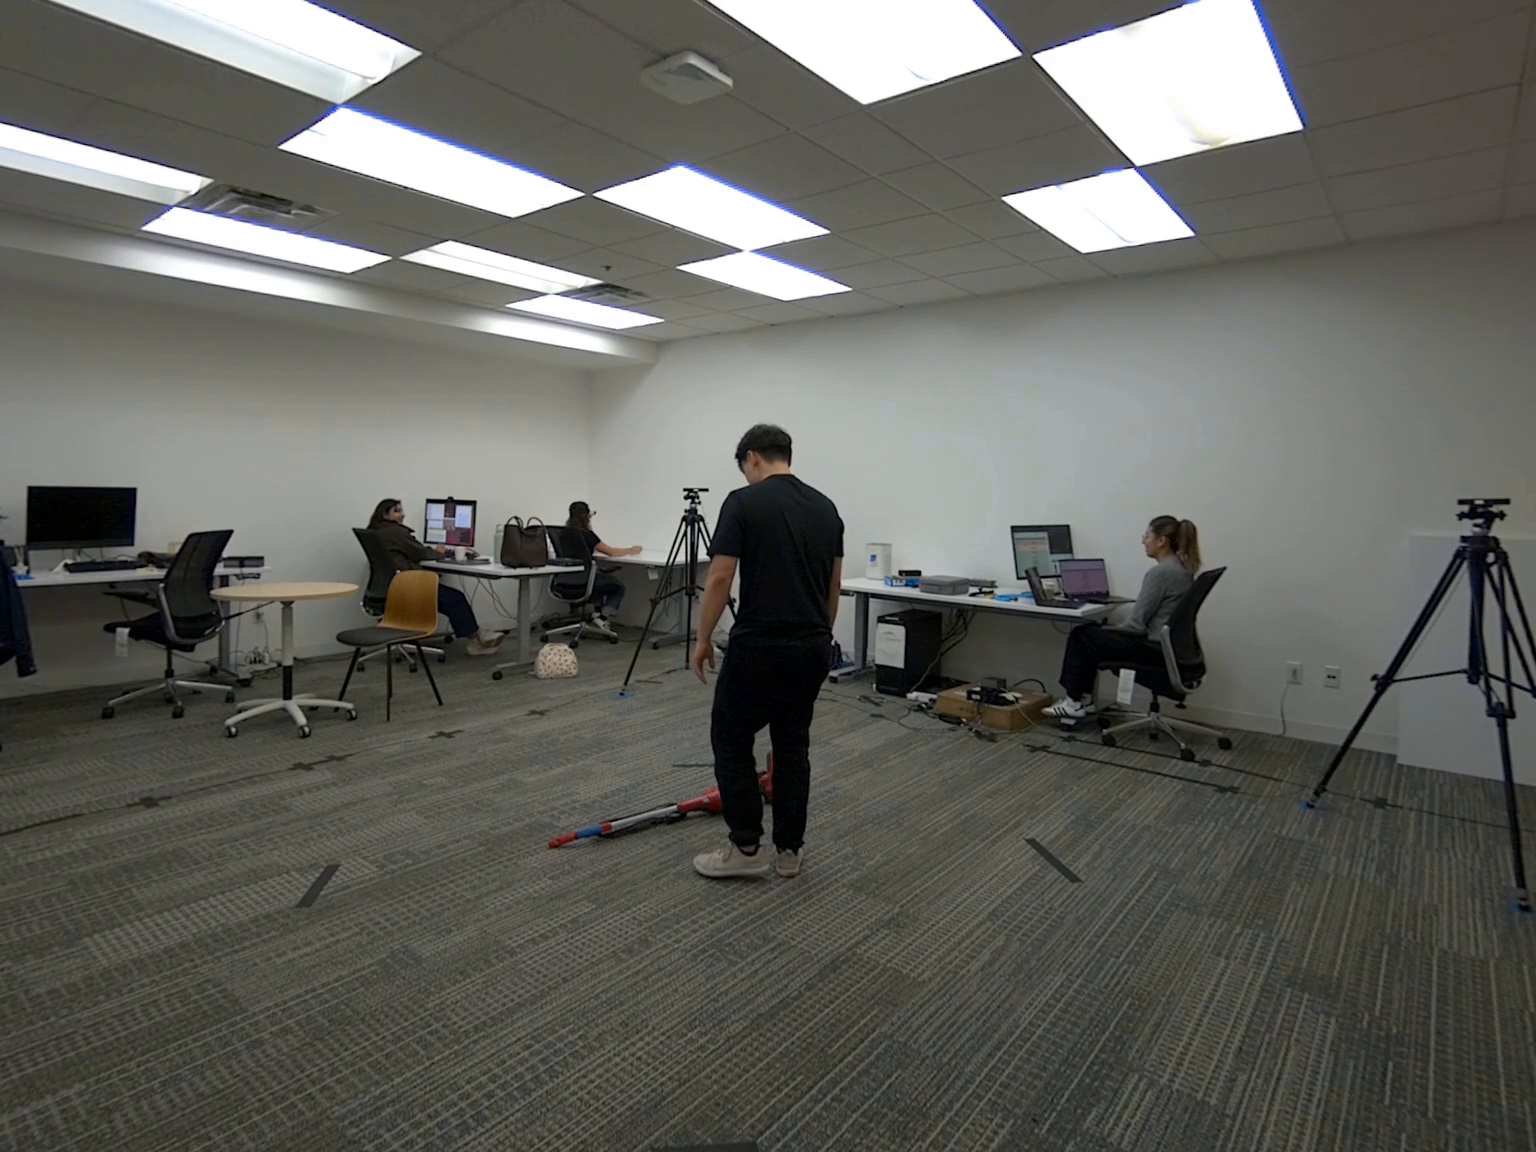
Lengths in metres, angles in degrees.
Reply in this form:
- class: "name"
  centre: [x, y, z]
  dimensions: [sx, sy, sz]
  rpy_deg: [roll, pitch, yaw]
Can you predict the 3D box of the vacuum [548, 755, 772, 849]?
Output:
- class: "vacuum"
  centre: [-0.412, 0.975, 3.533]
  dimensions: [1.024, 0.260, 0.143]
  rpy_deg: [-8, -27, -30]
